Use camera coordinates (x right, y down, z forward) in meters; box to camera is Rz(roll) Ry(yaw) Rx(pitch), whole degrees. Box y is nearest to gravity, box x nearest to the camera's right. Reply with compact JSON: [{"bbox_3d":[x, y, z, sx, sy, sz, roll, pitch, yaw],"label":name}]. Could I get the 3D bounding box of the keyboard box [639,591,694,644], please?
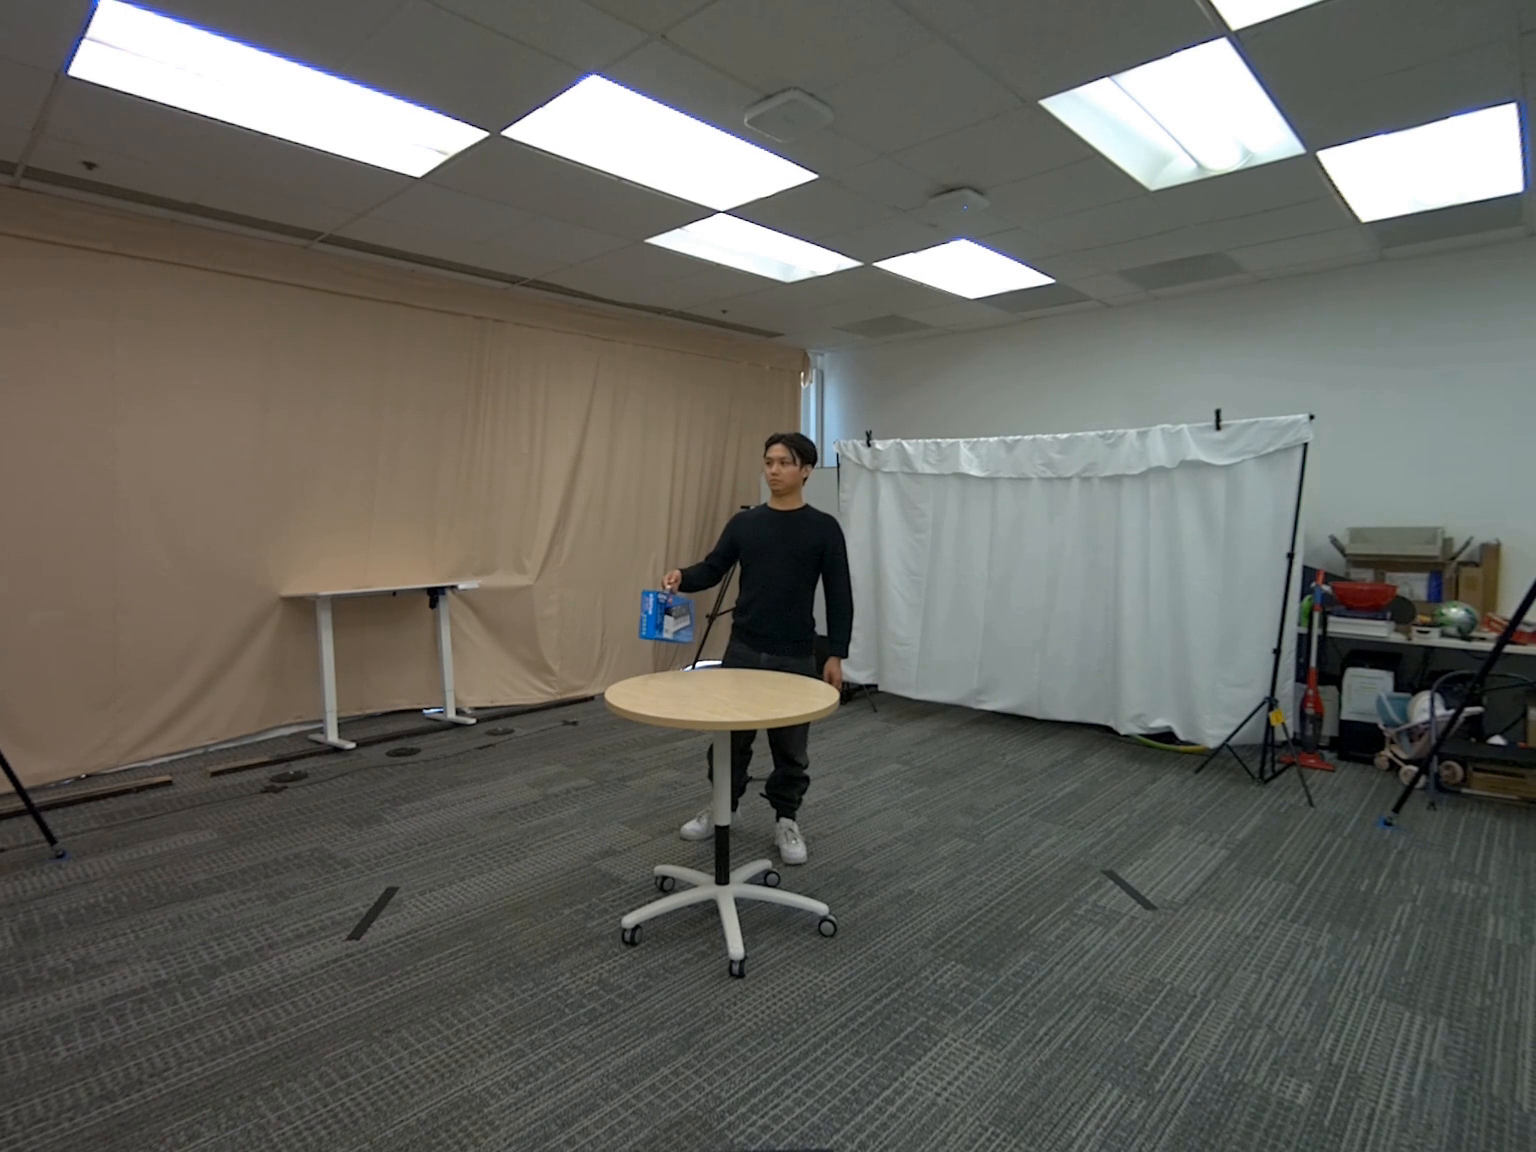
[{"bbox_3d":[-0.371,0.168,3.189,0.060,0.176,0.428,1,-6,14],"label":"keyboard box"}]
